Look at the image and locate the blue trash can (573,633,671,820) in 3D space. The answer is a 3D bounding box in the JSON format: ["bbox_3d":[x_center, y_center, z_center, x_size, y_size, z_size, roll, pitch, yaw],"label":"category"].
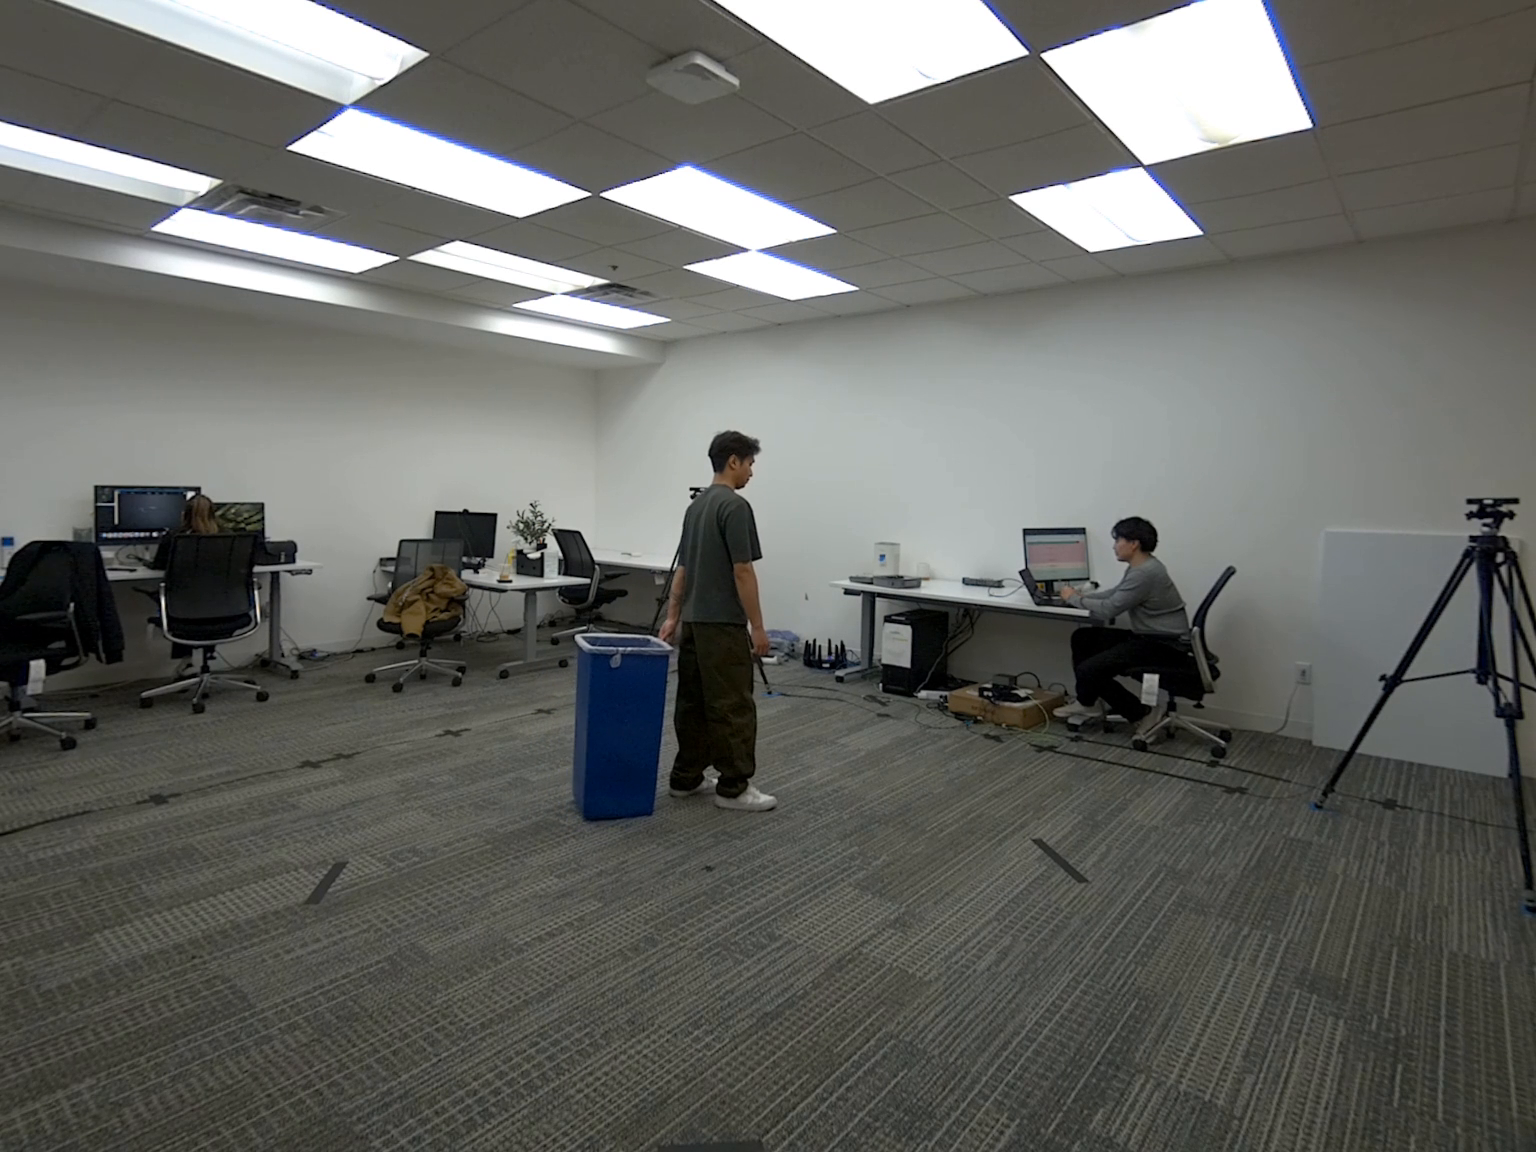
[{"bbox_3d":[-0.670,0.636,3.704,0.370,0.713,0.383,4,2,-21],"label":"blue trash can"}]
